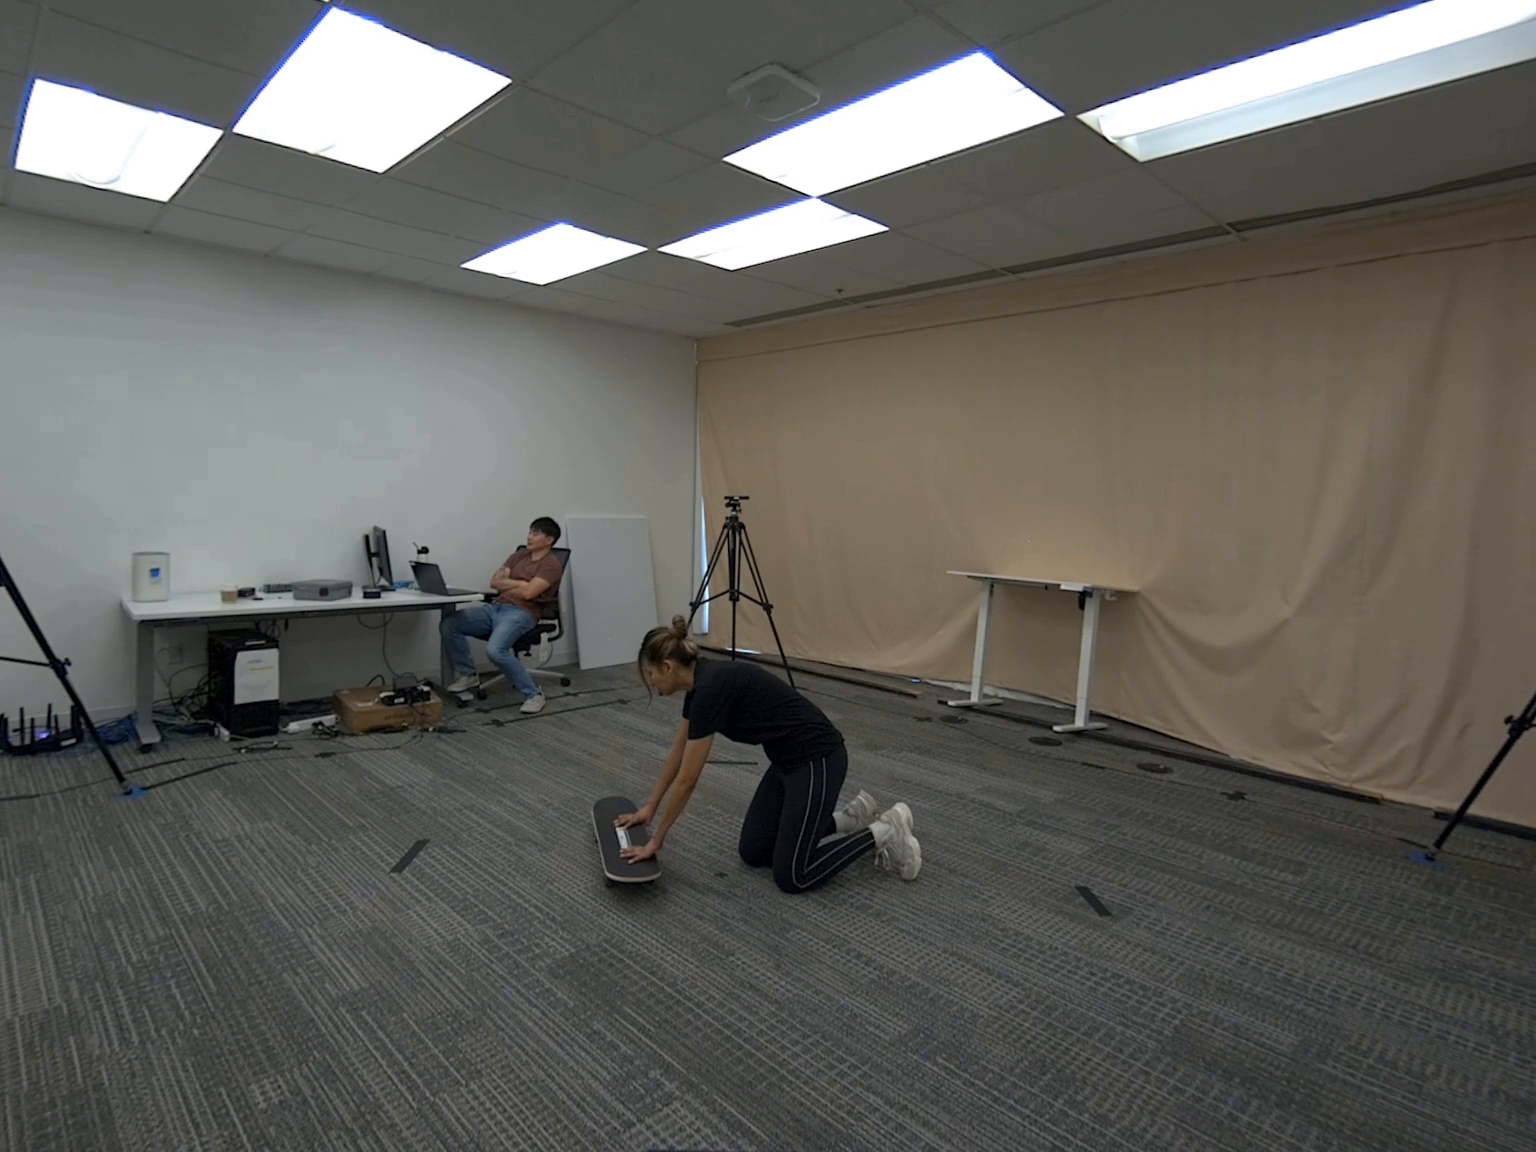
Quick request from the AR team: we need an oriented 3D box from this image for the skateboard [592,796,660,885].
[{"bbox_3d":[-0.549,1.021,3.207,0.191,0.110,0.797,1,5,-16],"label":"skateboard"}]
